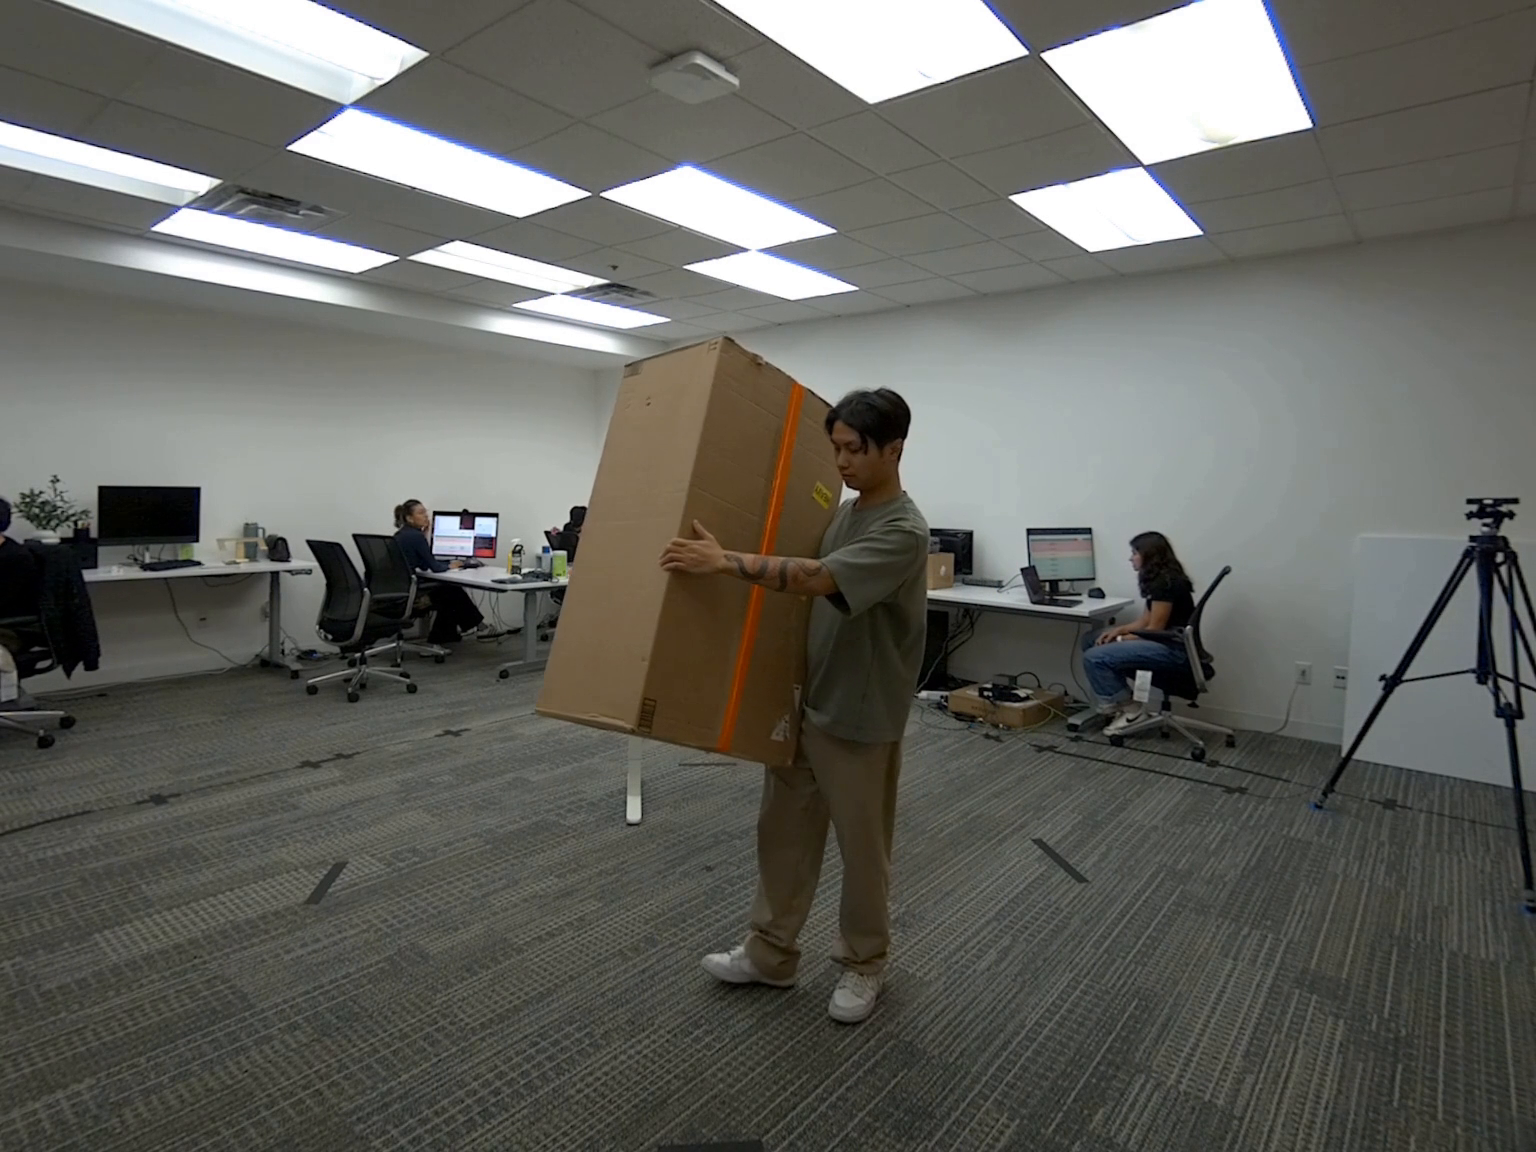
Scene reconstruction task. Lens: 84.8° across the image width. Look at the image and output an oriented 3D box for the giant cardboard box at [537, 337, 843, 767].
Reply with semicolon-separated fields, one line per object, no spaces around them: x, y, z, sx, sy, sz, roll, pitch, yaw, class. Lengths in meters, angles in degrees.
-0.188;-0.046;2.375;0.439;1.037;0.554;-3;-20;43;giant cardboard box
